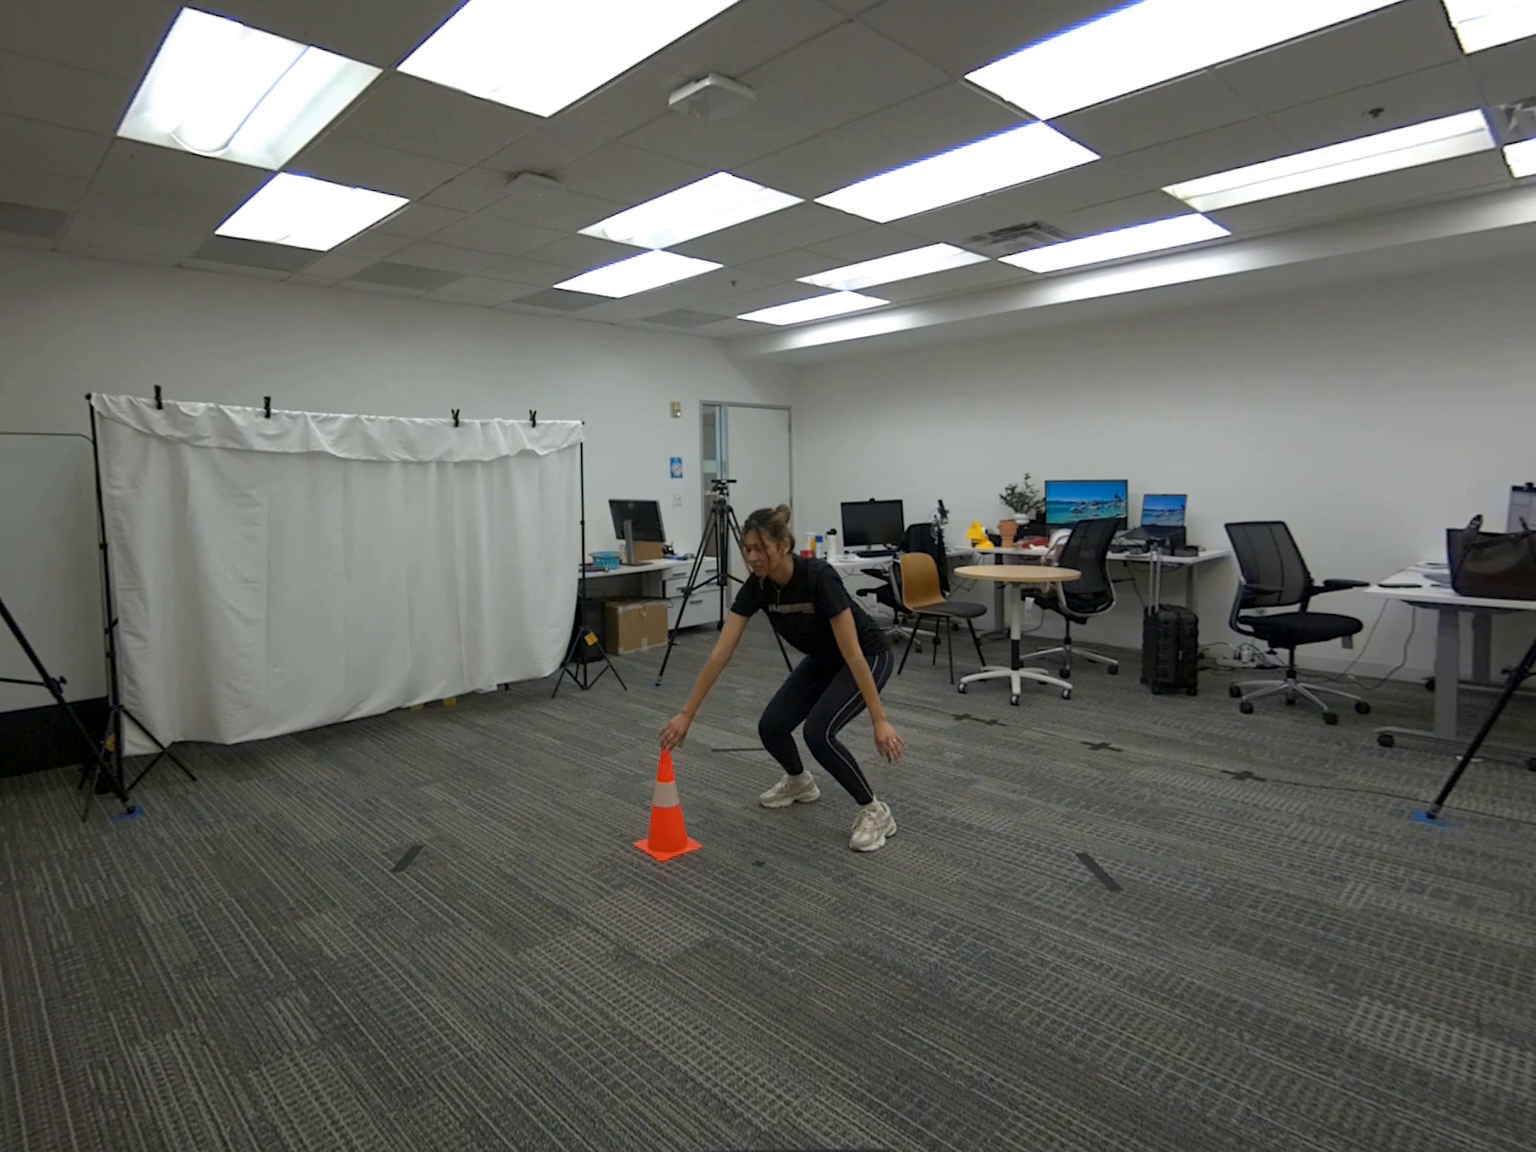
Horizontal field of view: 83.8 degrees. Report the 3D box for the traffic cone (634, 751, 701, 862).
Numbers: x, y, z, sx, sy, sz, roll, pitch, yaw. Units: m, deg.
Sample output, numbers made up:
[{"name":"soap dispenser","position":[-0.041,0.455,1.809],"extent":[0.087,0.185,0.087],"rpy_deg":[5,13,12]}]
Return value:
[{"name":"traffic cone","position":[-0.387,0.855,3.269],"extent":[0.199,0.383,0.209],"rpy_deg":[-4,3,-41]}]
